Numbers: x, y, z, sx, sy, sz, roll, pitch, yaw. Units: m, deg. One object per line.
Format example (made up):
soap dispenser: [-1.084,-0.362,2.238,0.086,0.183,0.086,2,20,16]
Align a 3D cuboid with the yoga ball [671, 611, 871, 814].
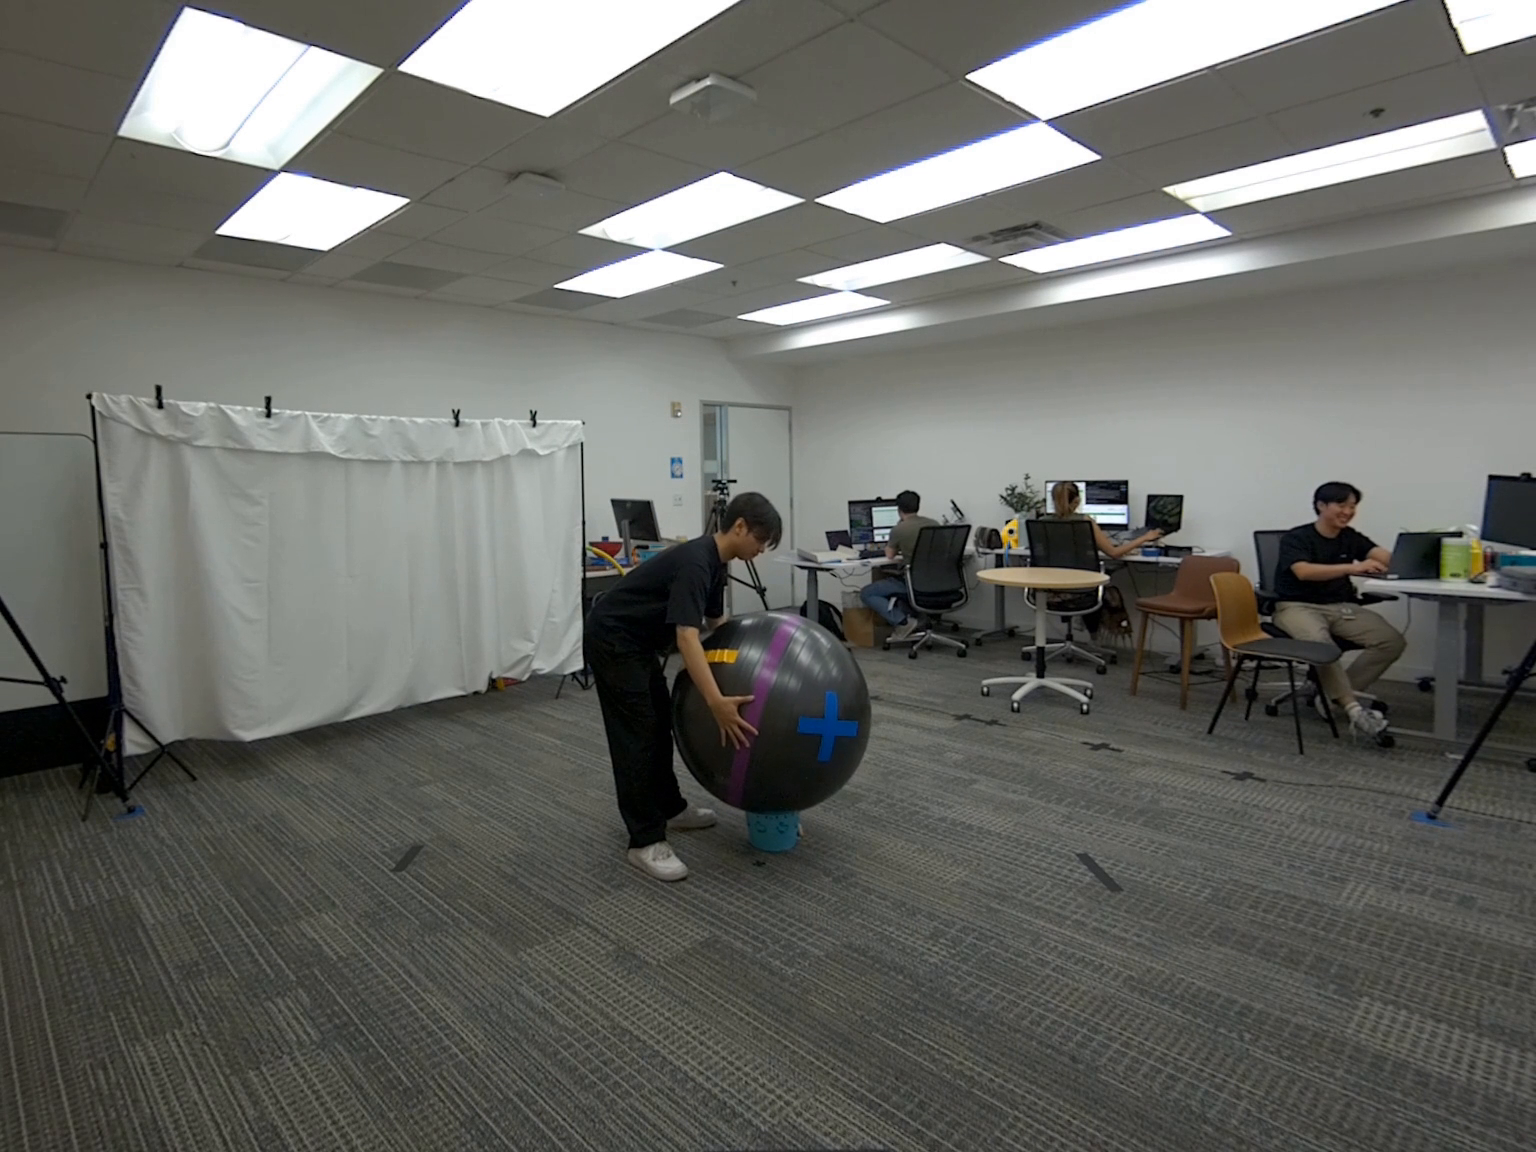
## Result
yoga ball: [0.014,0.515,3.255,0.757,0.755,0.762,-1,5,-2]
